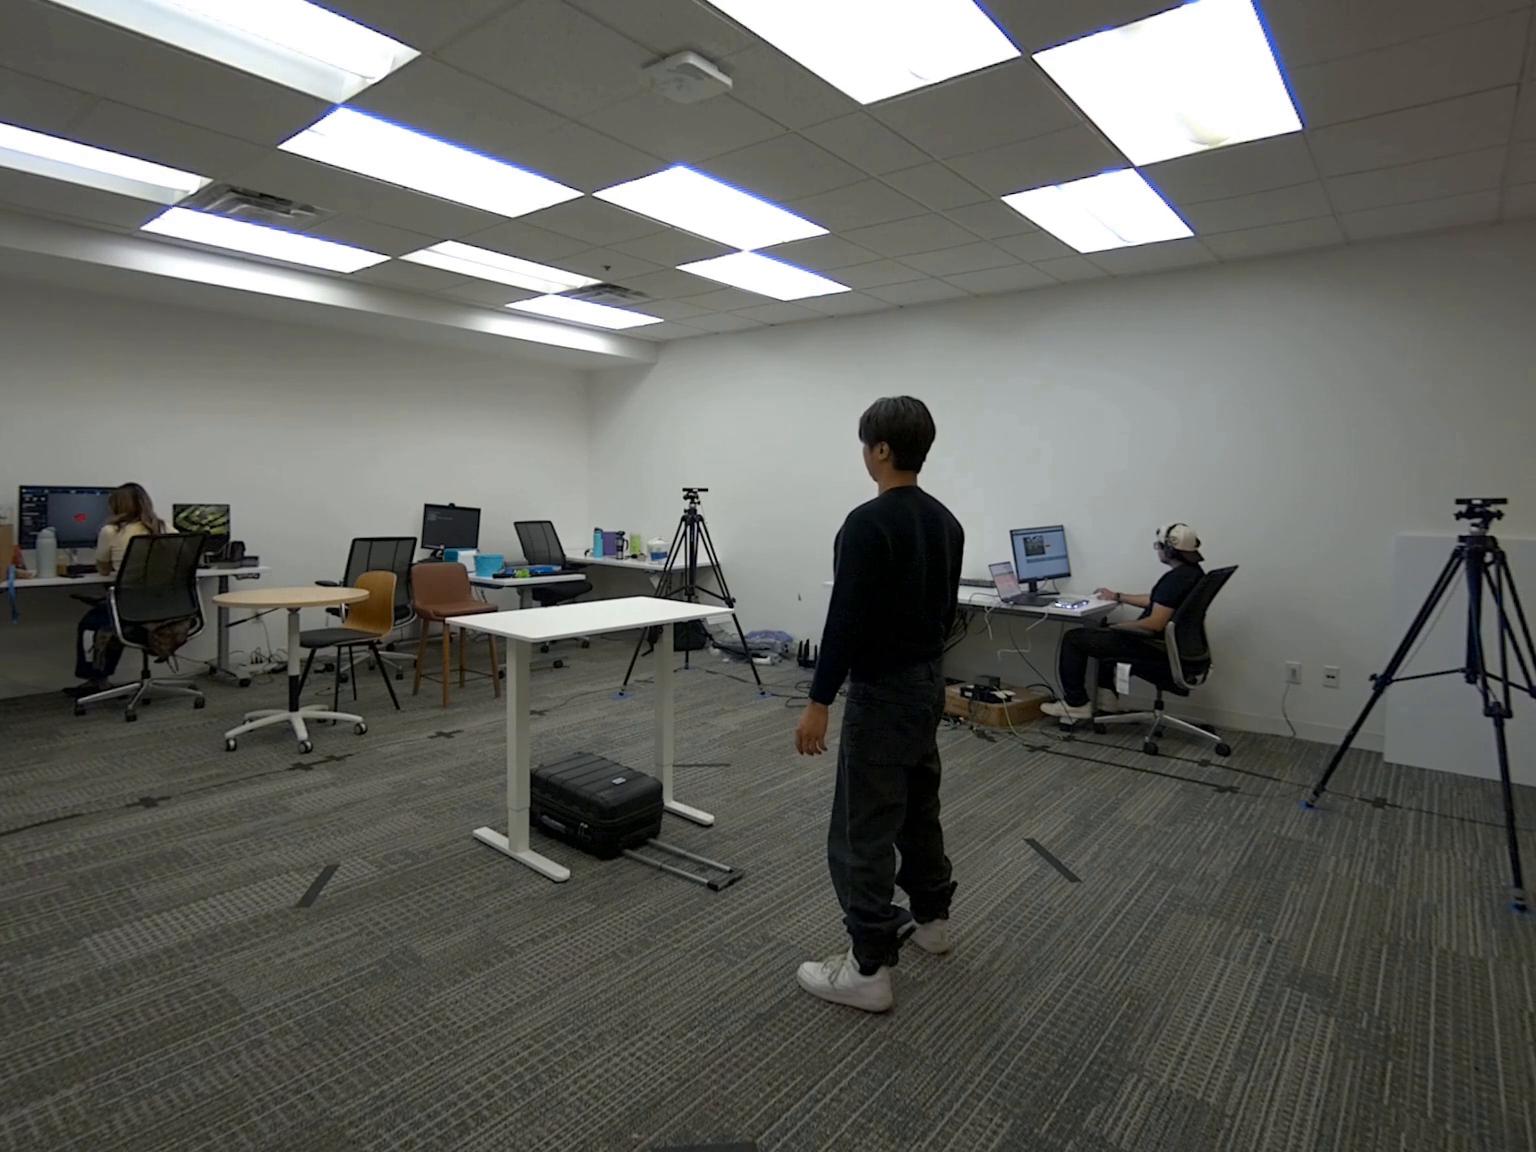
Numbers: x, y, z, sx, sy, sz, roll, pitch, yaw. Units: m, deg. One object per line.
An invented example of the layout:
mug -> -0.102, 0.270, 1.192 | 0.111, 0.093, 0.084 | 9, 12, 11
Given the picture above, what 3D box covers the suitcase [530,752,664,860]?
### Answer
suitcase -> -0.544, 0.920, 3.283 | 1.011, 0.256, 0.373 | 5, 6, 37
